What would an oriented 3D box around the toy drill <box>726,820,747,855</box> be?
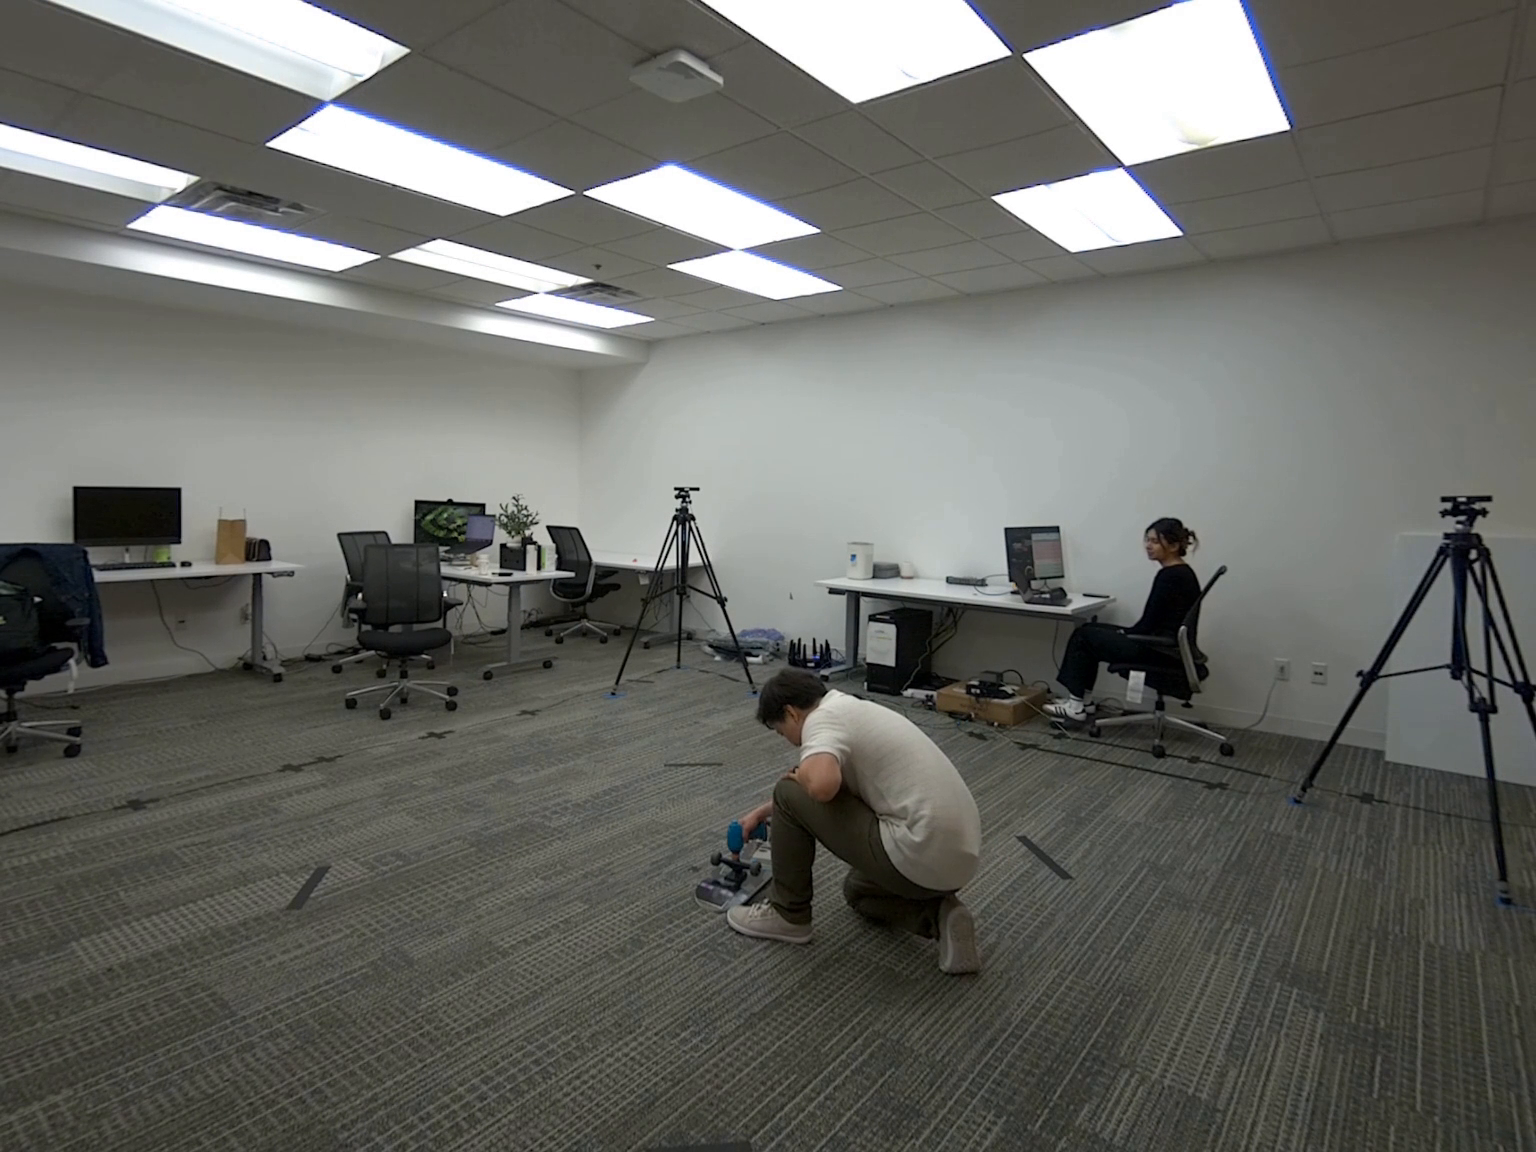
[{"bbox_3d":[-0.077,0.944,3.011,0.145,0.170,0.061,-5,1,-8],"label":"toy drill"}]
